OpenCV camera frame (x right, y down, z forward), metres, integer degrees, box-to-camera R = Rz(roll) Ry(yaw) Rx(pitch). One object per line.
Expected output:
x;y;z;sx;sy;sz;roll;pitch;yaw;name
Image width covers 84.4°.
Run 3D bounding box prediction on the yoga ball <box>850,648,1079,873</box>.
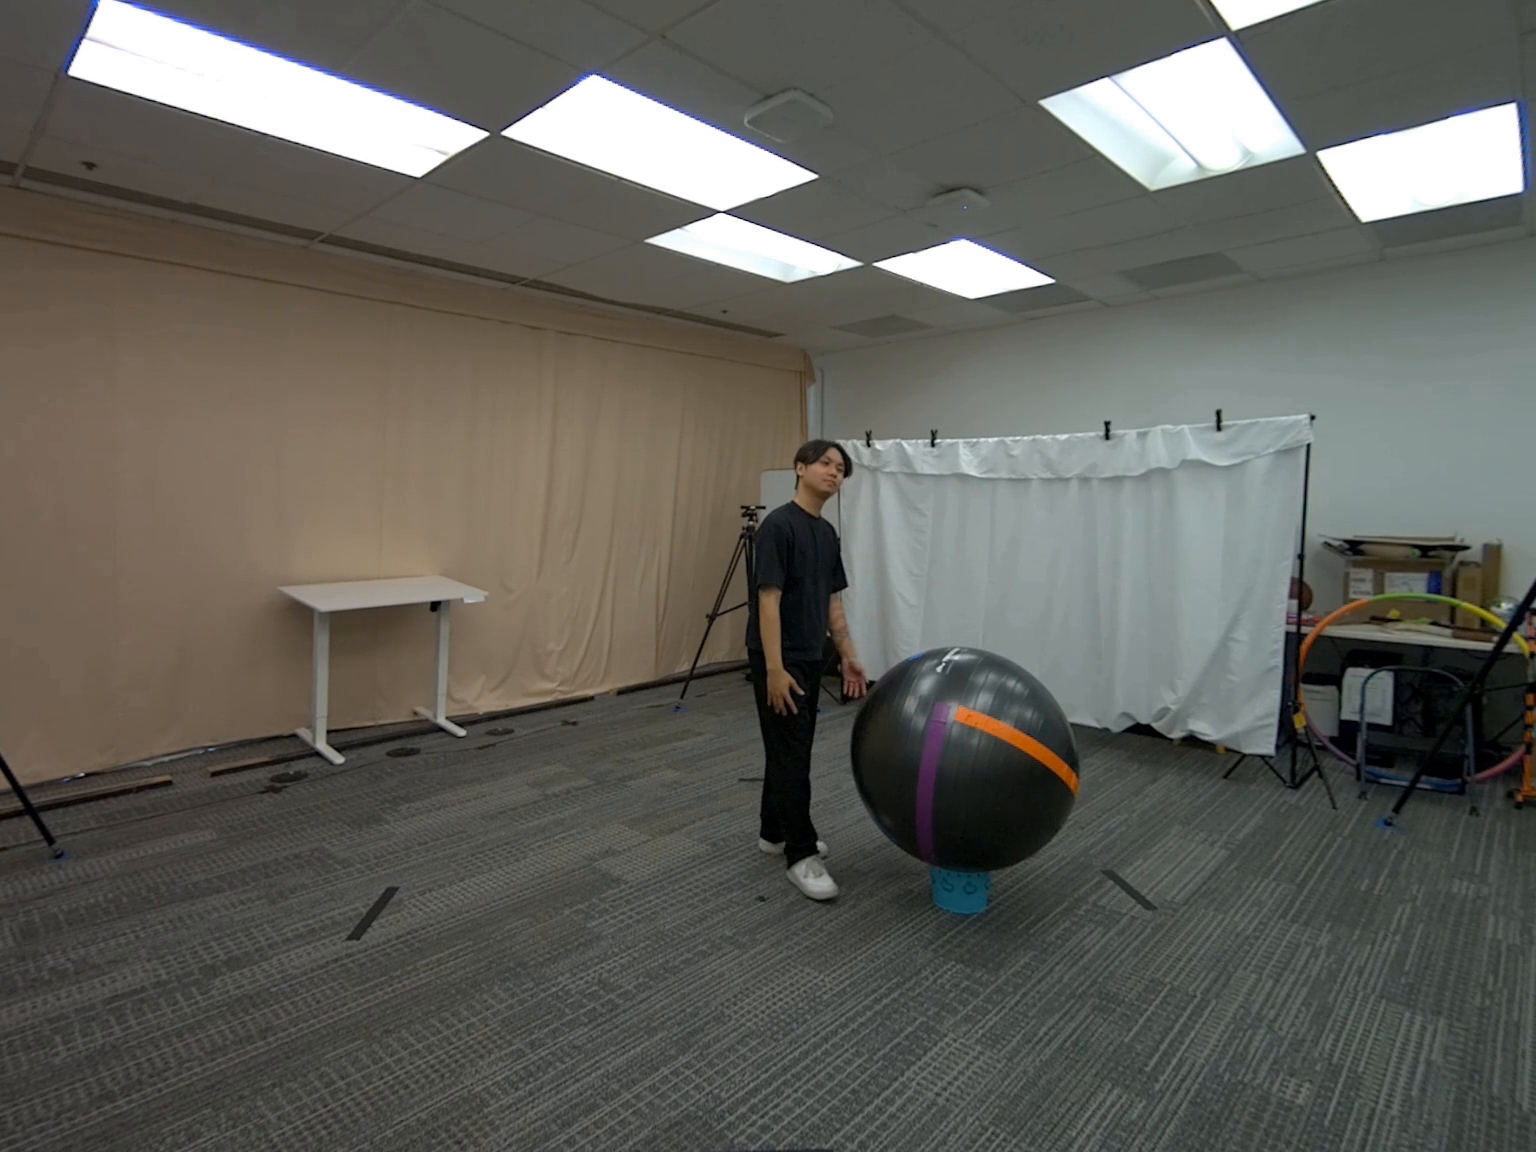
0.685;0.636;2.934;0.757;0.756;0.760;0;4;-2;yoga ball
